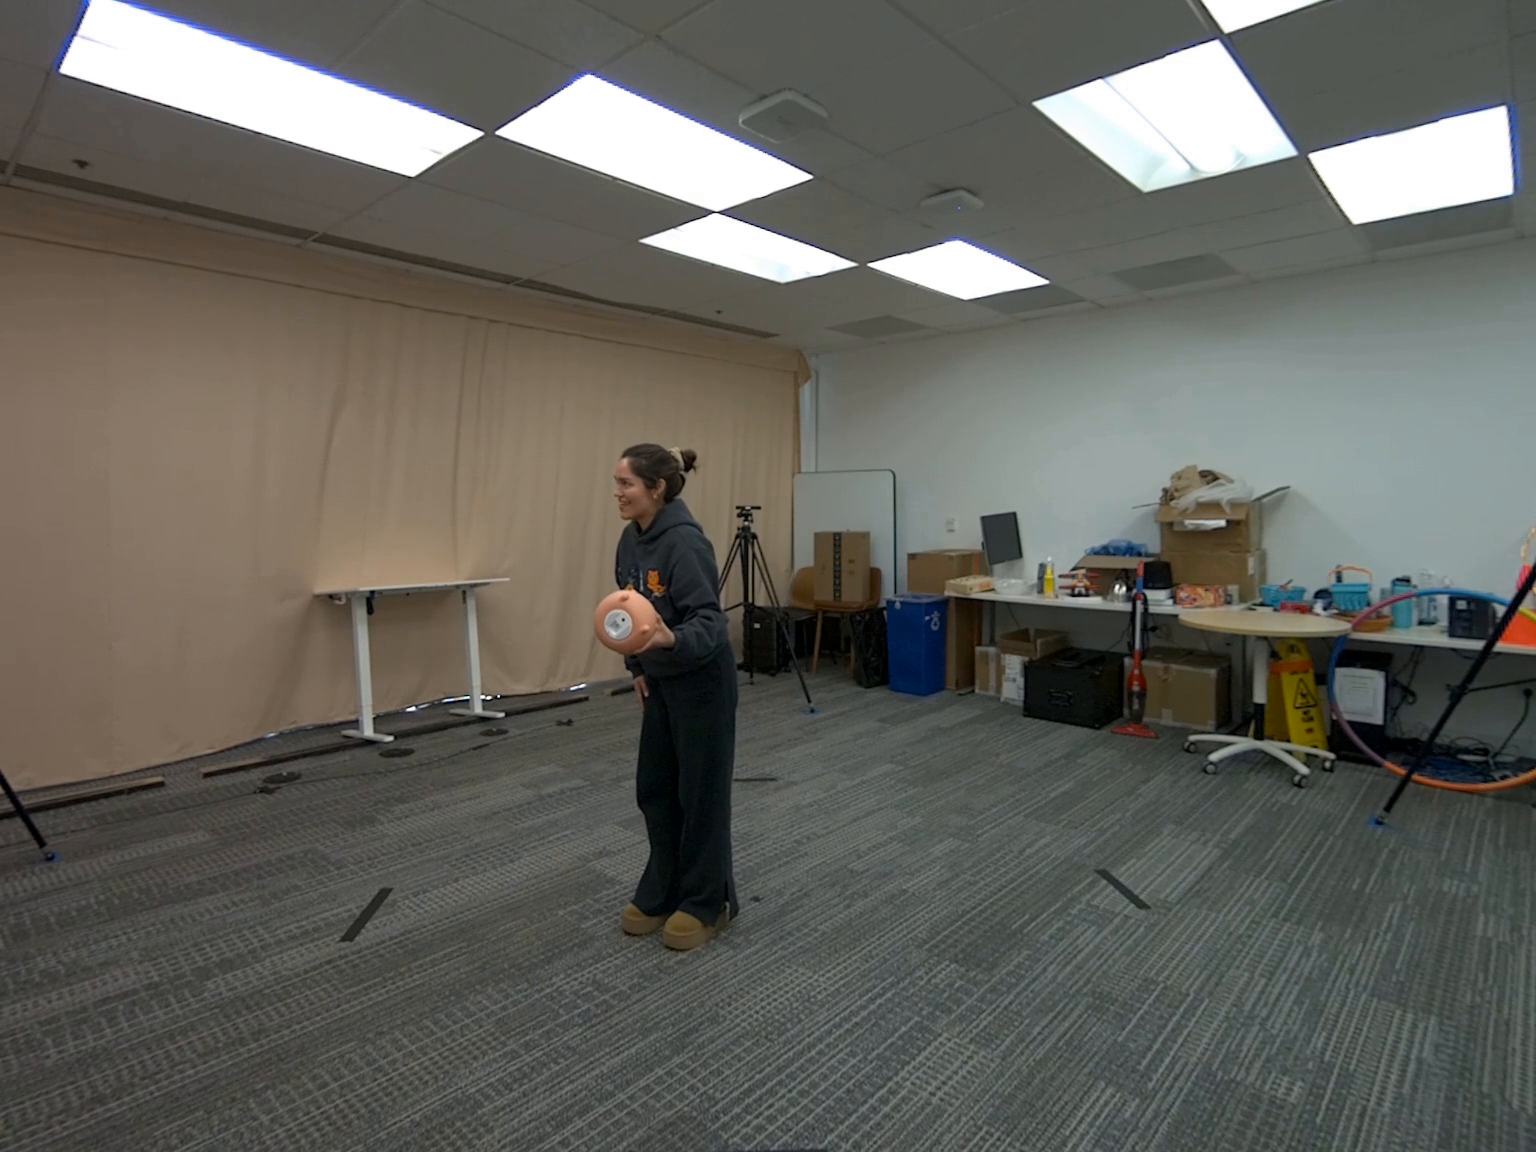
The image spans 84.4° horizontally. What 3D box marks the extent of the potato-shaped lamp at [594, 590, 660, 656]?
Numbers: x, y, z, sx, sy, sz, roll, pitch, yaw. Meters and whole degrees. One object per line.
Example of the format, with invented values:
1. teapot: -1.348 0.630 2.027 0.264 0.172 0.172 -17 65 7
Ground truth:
1. potato-shaped lamp: -0.369 0.121 2.299 0.173 0.165 0.196 -36 -3 15
